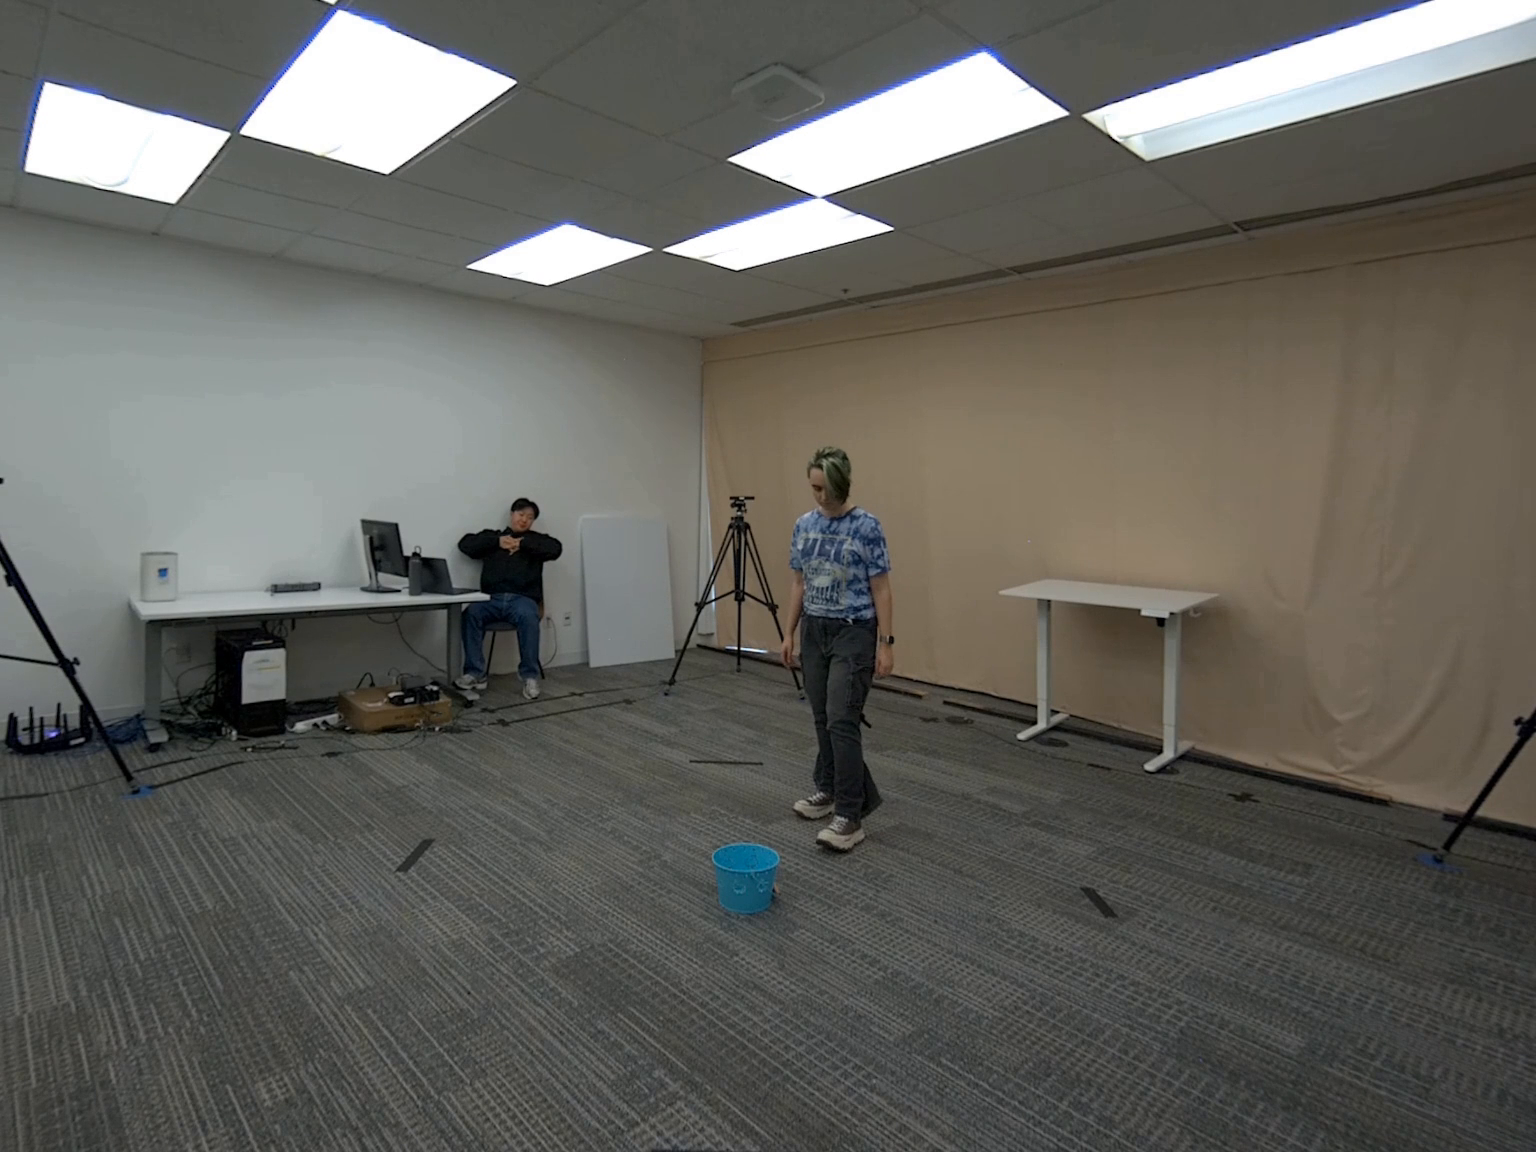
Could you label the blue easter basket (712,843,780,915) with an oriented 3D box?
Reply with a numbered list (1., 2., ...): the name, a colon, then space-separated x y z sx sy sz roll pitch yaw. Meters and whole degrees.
1. blue easter basket: -0.080 1.047 2.903 0.243 0.155 0.244 1 5 -1
